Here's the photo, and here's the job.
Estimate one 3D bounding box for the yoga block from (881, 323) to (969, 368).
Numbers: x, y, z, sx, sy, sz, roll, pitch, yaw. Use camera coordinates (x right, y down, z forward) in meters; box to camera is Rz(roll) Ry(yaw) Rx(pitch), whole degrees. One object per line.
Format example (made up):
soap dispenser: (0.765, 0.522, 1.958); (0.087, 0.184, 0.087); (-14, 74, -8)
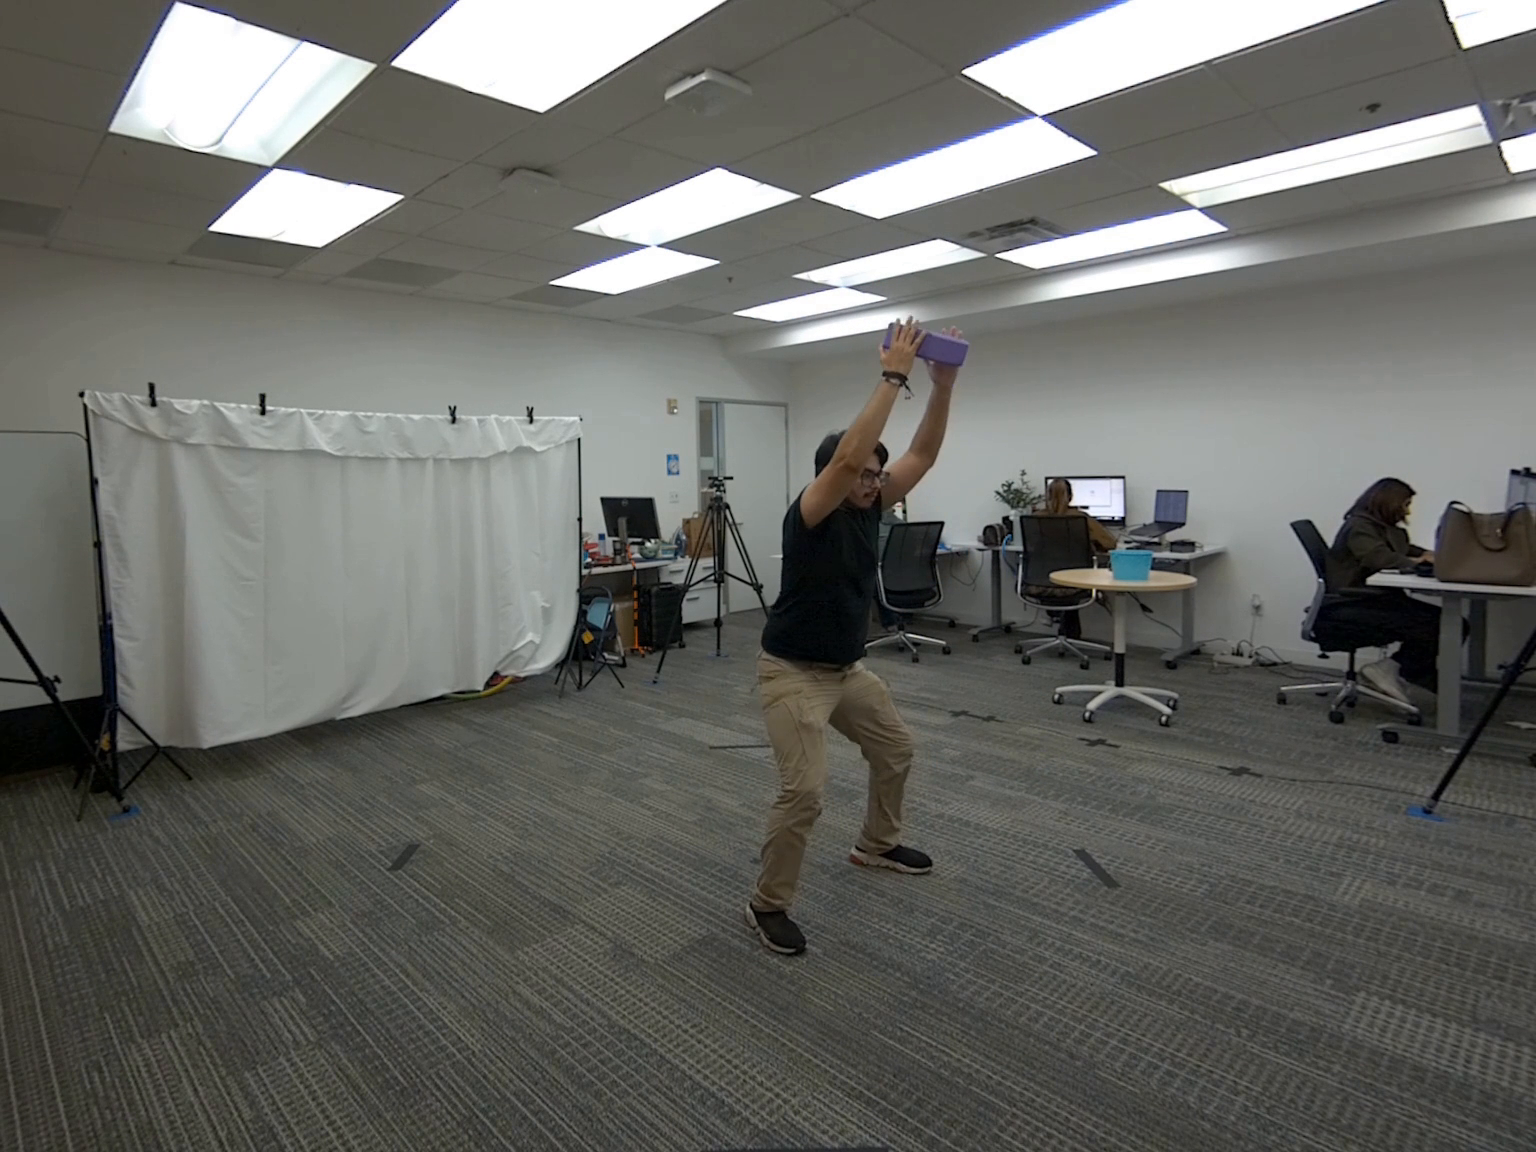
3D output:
yoga block: (0.457, -0.667, 2.464); (0.155, 0.075, 0.223); (31, 24, 37)
